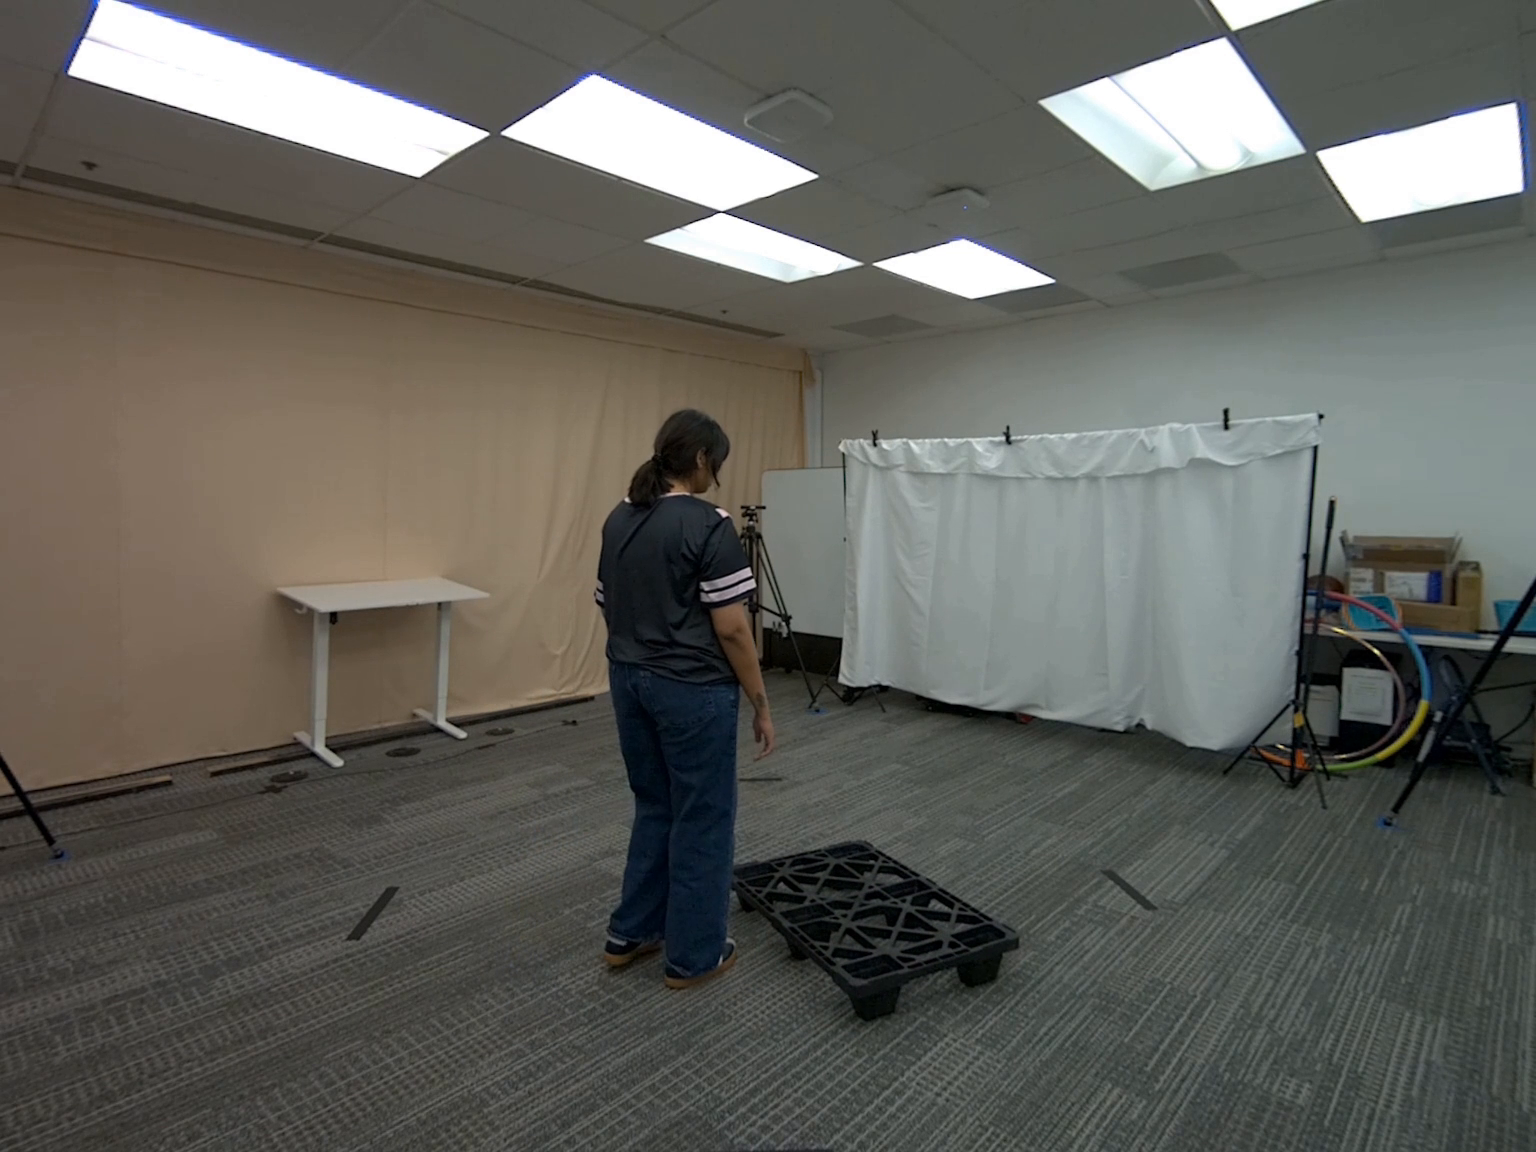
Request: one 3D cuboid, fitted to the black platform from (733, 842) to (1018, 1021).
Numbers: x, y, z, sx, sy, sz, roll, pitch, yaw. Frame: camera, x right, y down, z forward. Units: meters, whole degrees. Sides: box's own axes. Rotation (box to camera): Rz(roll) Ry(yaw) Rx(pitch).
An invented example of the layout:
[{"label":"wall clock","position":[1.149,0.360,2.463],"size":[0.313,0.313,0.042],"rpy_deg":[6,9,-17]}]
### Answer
[{"label":"black platform","position":[0.296,1.100,2.696],"size":[0.590,0.143,0.828],"rpy_deg":[-2,5,-28]}]
